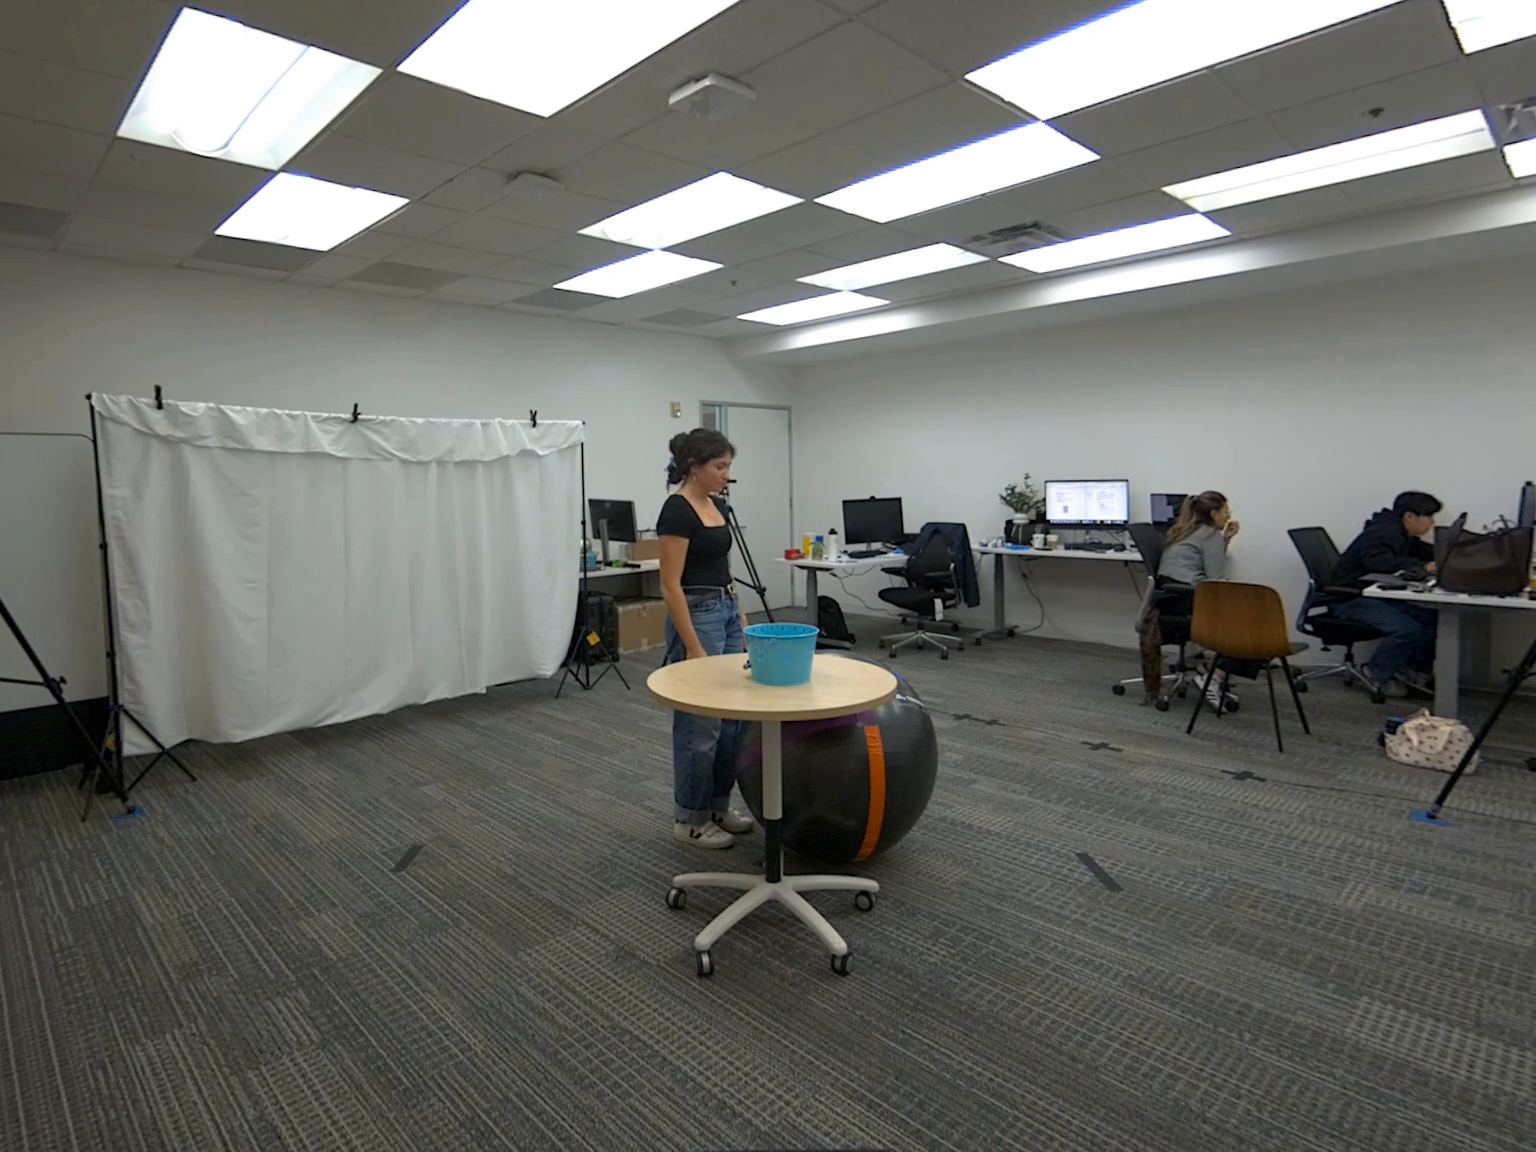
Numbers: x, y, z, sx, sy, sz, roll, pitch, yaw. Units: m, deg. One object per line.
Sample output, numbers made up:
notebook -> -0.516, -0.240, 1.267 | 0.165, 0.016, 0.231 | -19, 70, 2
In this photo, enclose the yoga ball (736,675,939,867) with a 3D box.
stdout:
yoga ball -> 0.249, 0.671, 3.197 | 0.757, 0.755, 0.762 | -1, 5, -2
